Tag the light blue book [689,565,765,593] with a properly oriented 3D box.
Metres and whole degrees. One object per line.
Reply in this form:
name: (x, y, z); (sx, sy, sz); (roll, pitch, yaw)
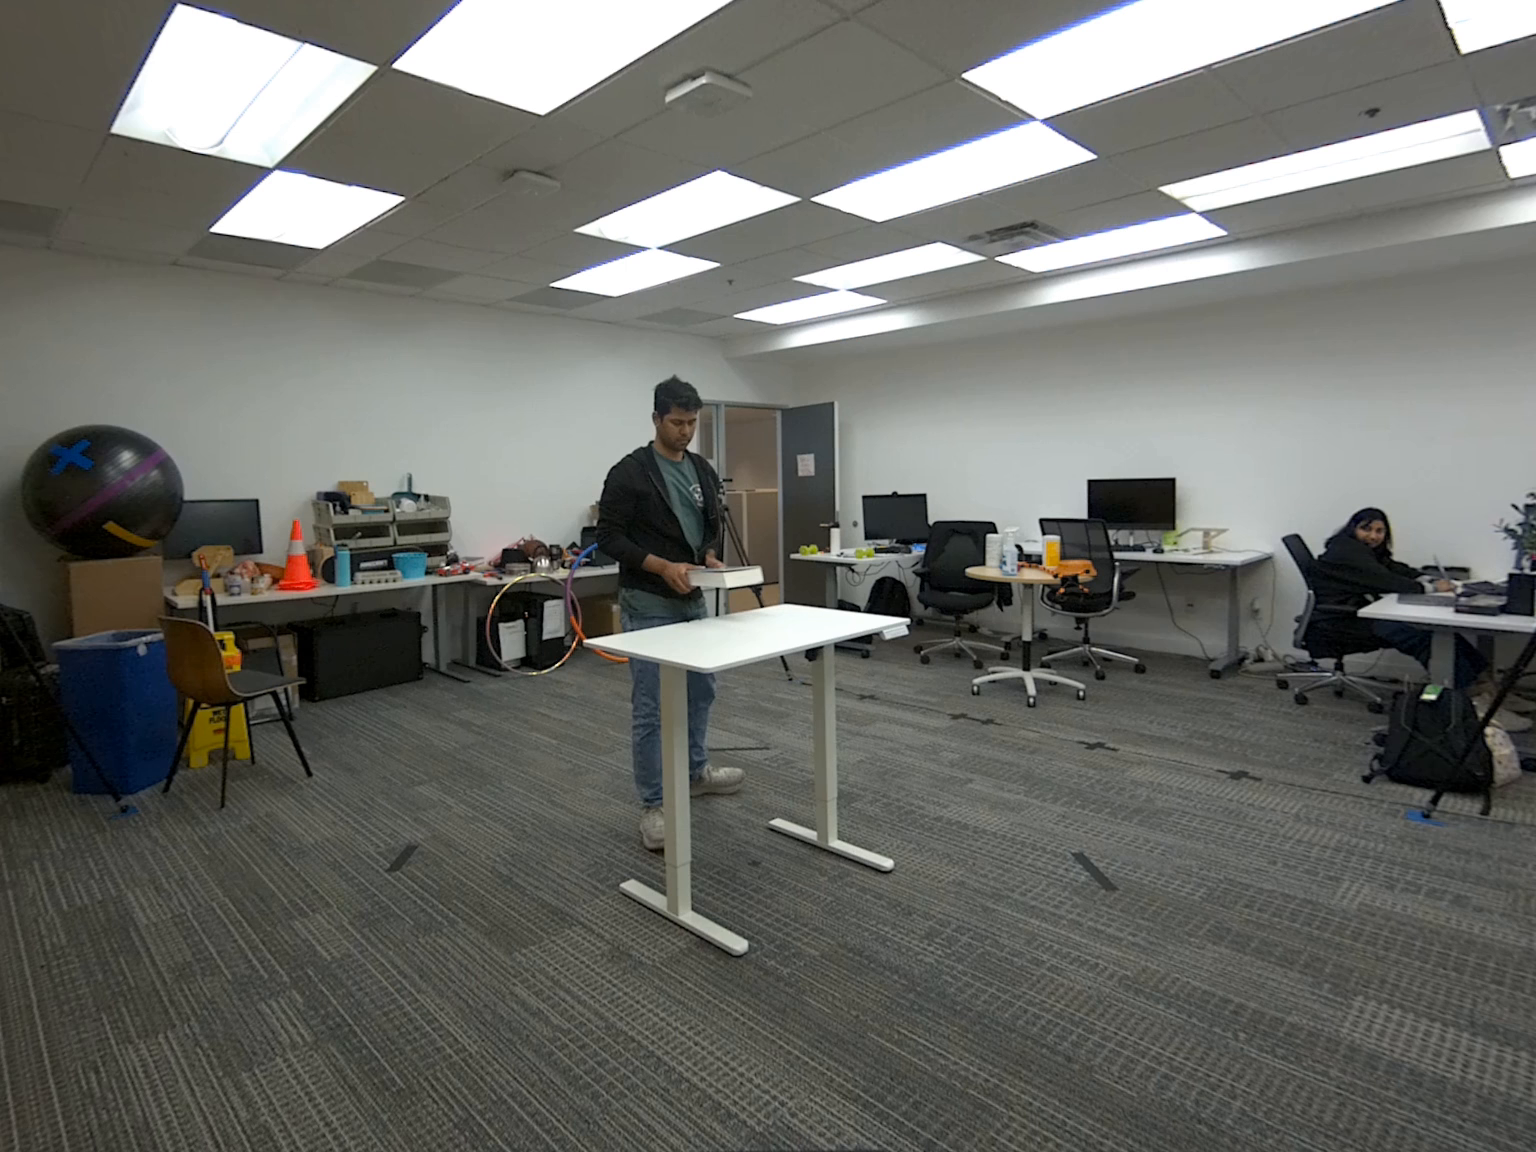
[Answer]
light blue book: (-0.166, 0.003, 3.186); (0.186, 0.059, 0.268); (-6, 5, -43)
